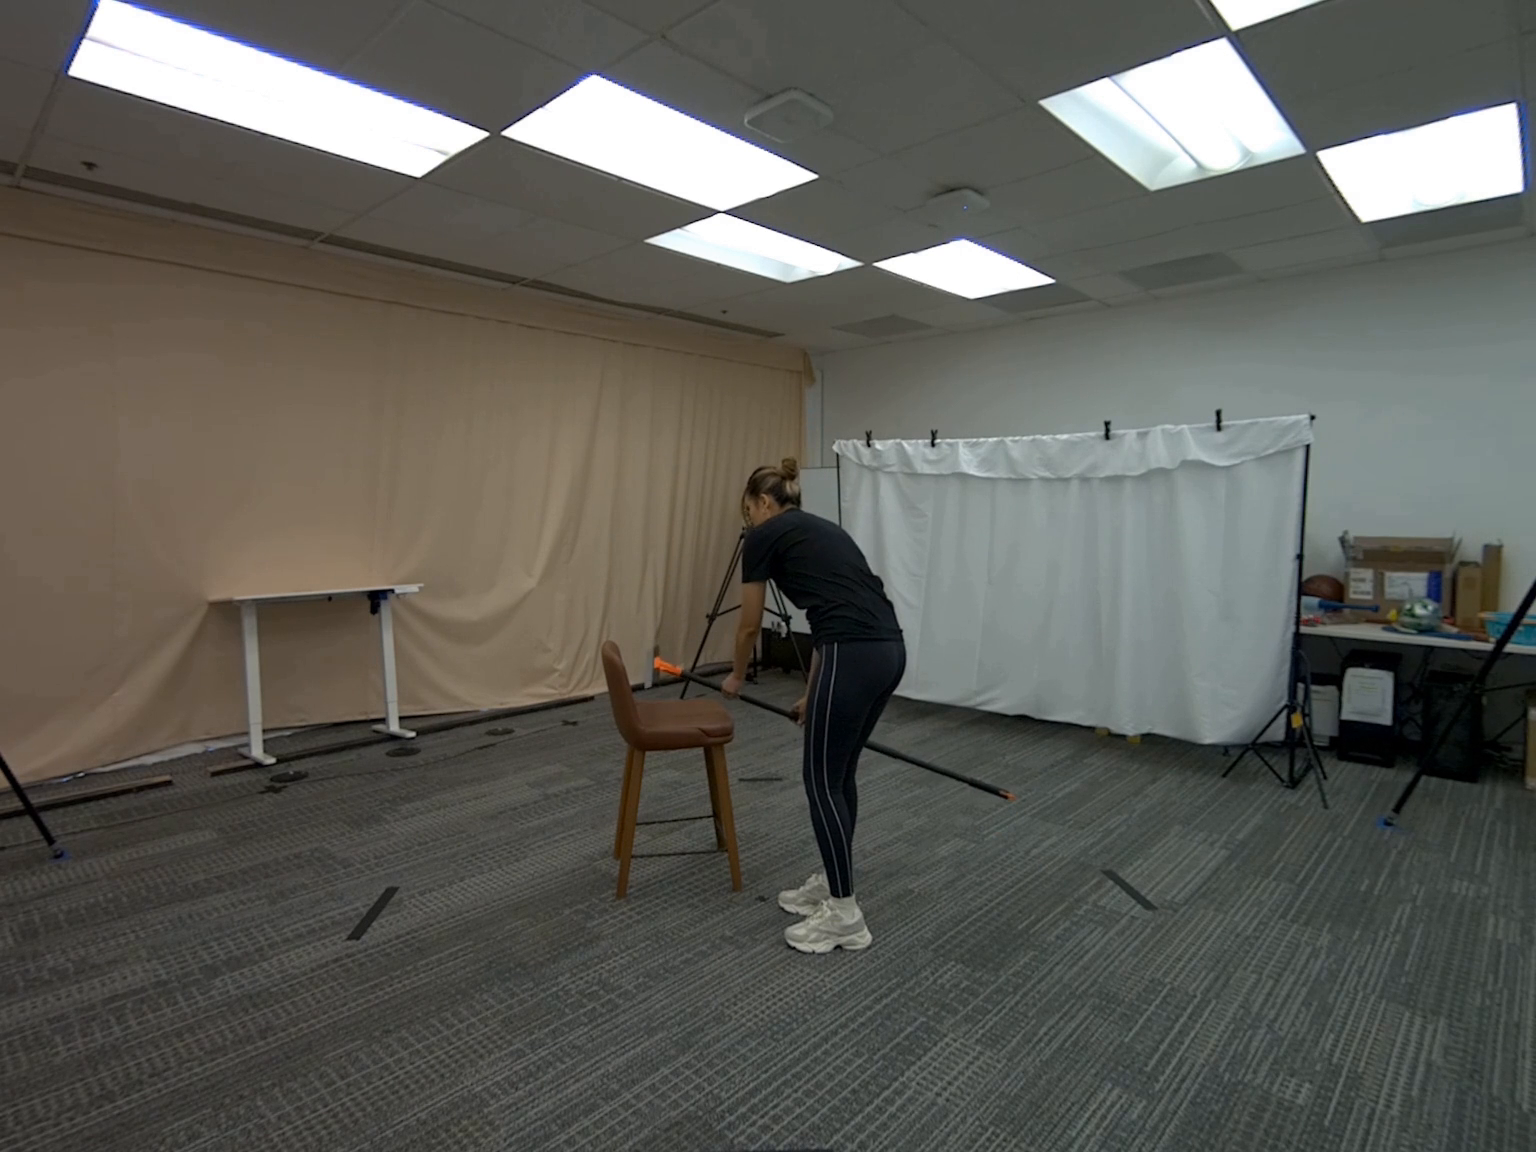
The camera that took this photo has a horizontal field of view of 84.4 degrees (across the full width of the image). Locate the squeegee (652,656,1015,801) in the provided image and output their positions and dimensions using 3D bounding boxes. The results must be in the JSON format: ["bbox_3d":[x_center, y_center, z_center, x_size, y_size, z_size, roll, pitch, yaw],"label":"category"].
[{"bbox_3d":[0.282,0.620,3.226,1.526,0.053,0.442,22,21,-6],"label":"squeegee"}]
